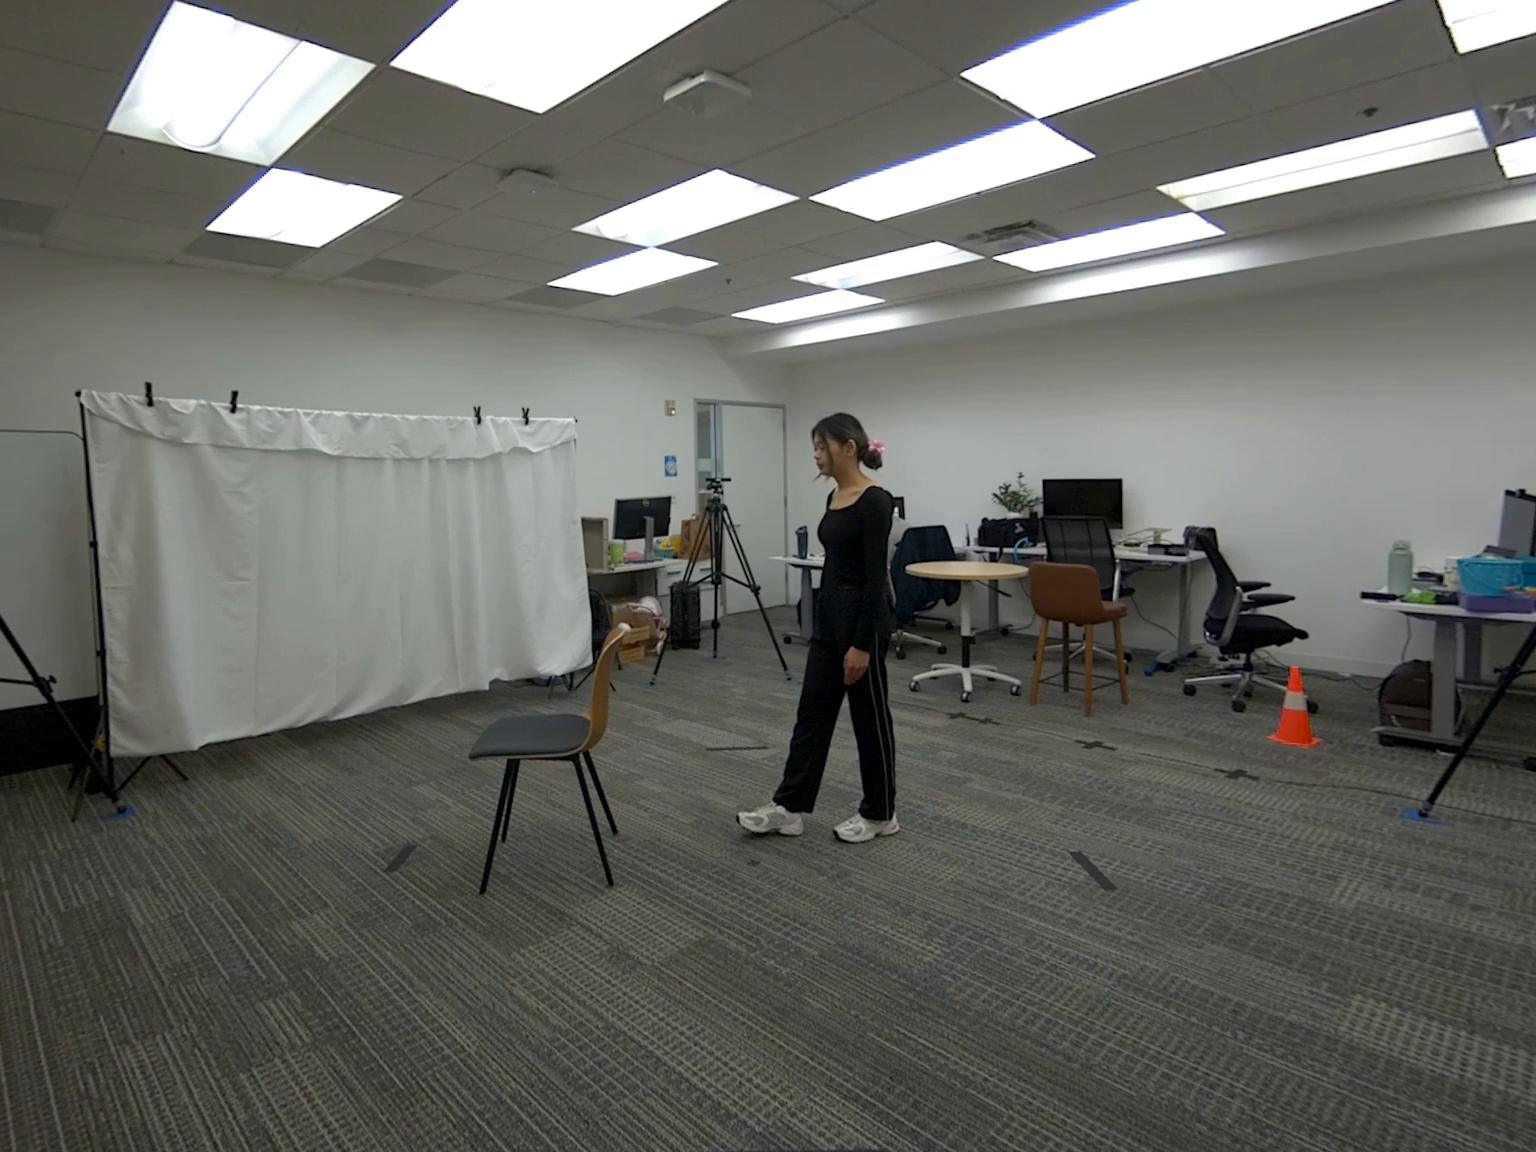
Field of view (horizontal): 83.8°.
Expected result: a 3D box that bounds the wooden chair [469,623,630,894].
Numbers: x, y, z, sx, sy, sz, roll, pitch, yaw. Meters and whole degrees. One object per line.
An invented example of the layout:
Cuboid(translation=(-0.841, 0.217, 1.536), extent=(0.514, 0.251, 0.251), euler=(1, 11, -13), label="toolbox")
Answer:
Cuboid(translation=(-0.803, 0.628, 3.110), extent=(0.520, 0.874, 0.483), euler=(2, 4, -7), label="wooden chair")
